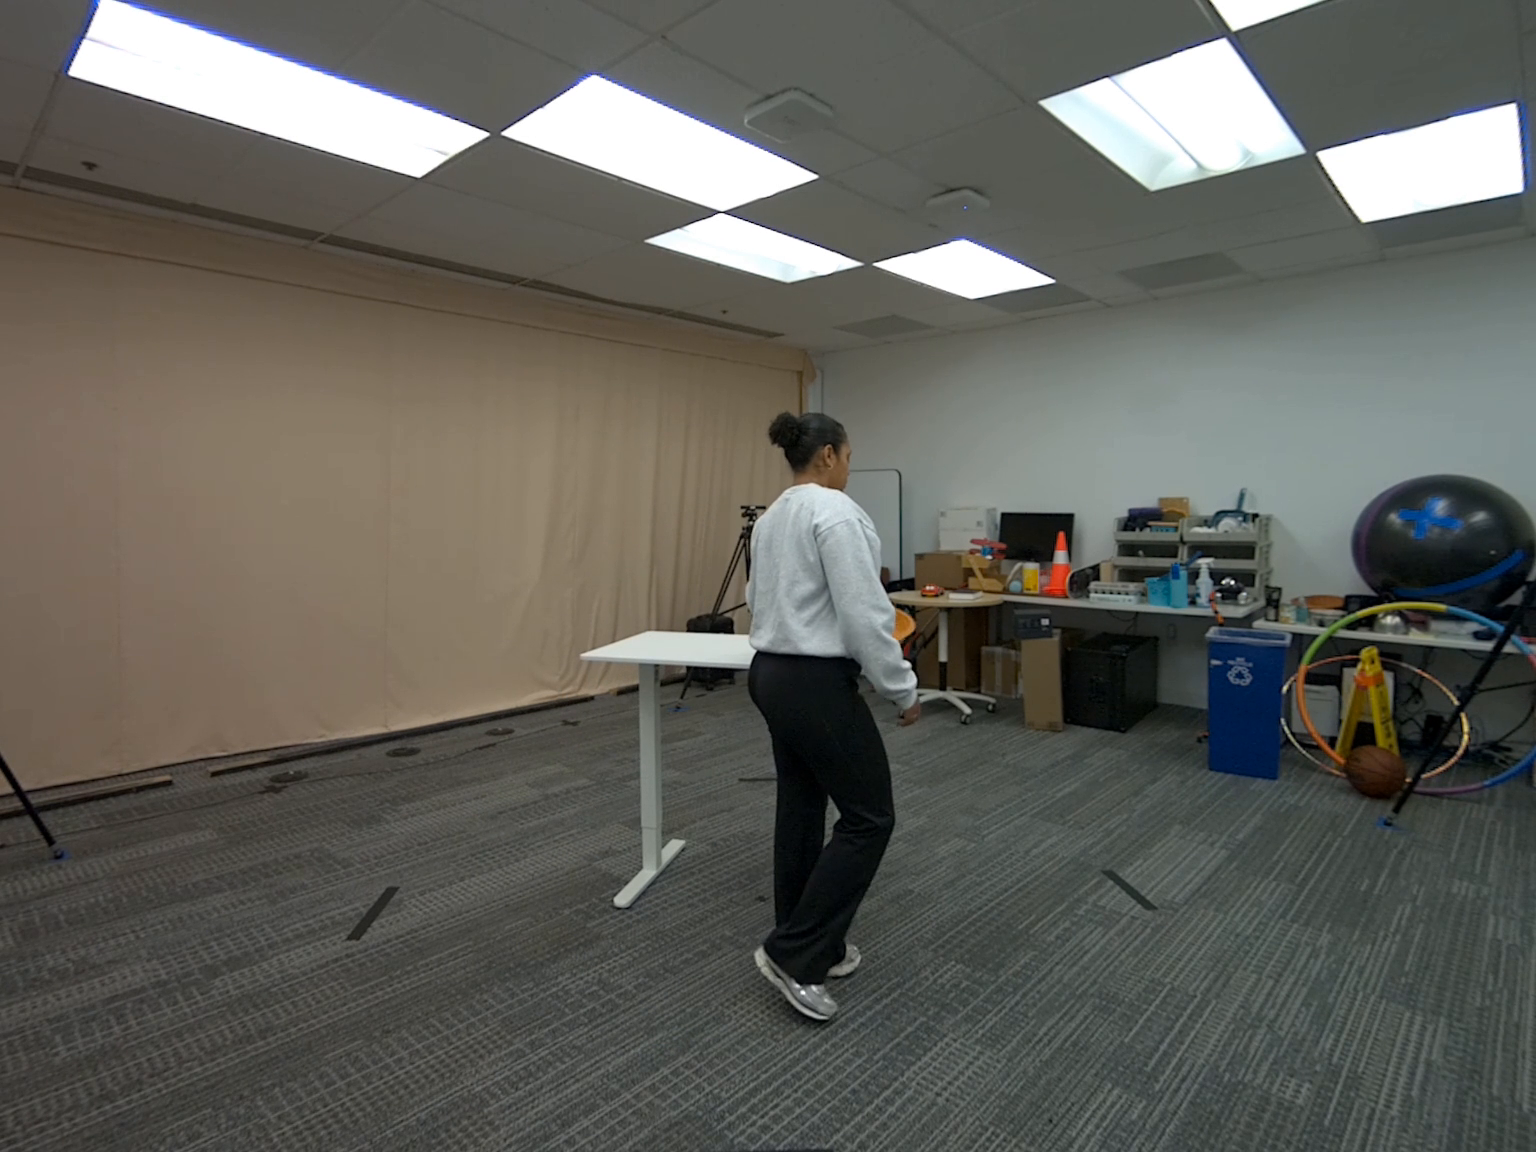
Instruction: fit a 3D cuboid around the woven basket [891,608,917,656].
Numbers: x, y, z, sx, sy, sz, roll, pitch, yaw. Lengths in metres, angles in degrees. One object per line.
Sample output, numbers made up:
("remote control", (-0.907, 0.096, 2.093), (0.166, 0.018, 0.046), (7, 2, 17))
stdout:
("woven basket", (0.341, 0.202, 2.765), (0.342, 0.072, 0.262), (-16, 29, -35))
